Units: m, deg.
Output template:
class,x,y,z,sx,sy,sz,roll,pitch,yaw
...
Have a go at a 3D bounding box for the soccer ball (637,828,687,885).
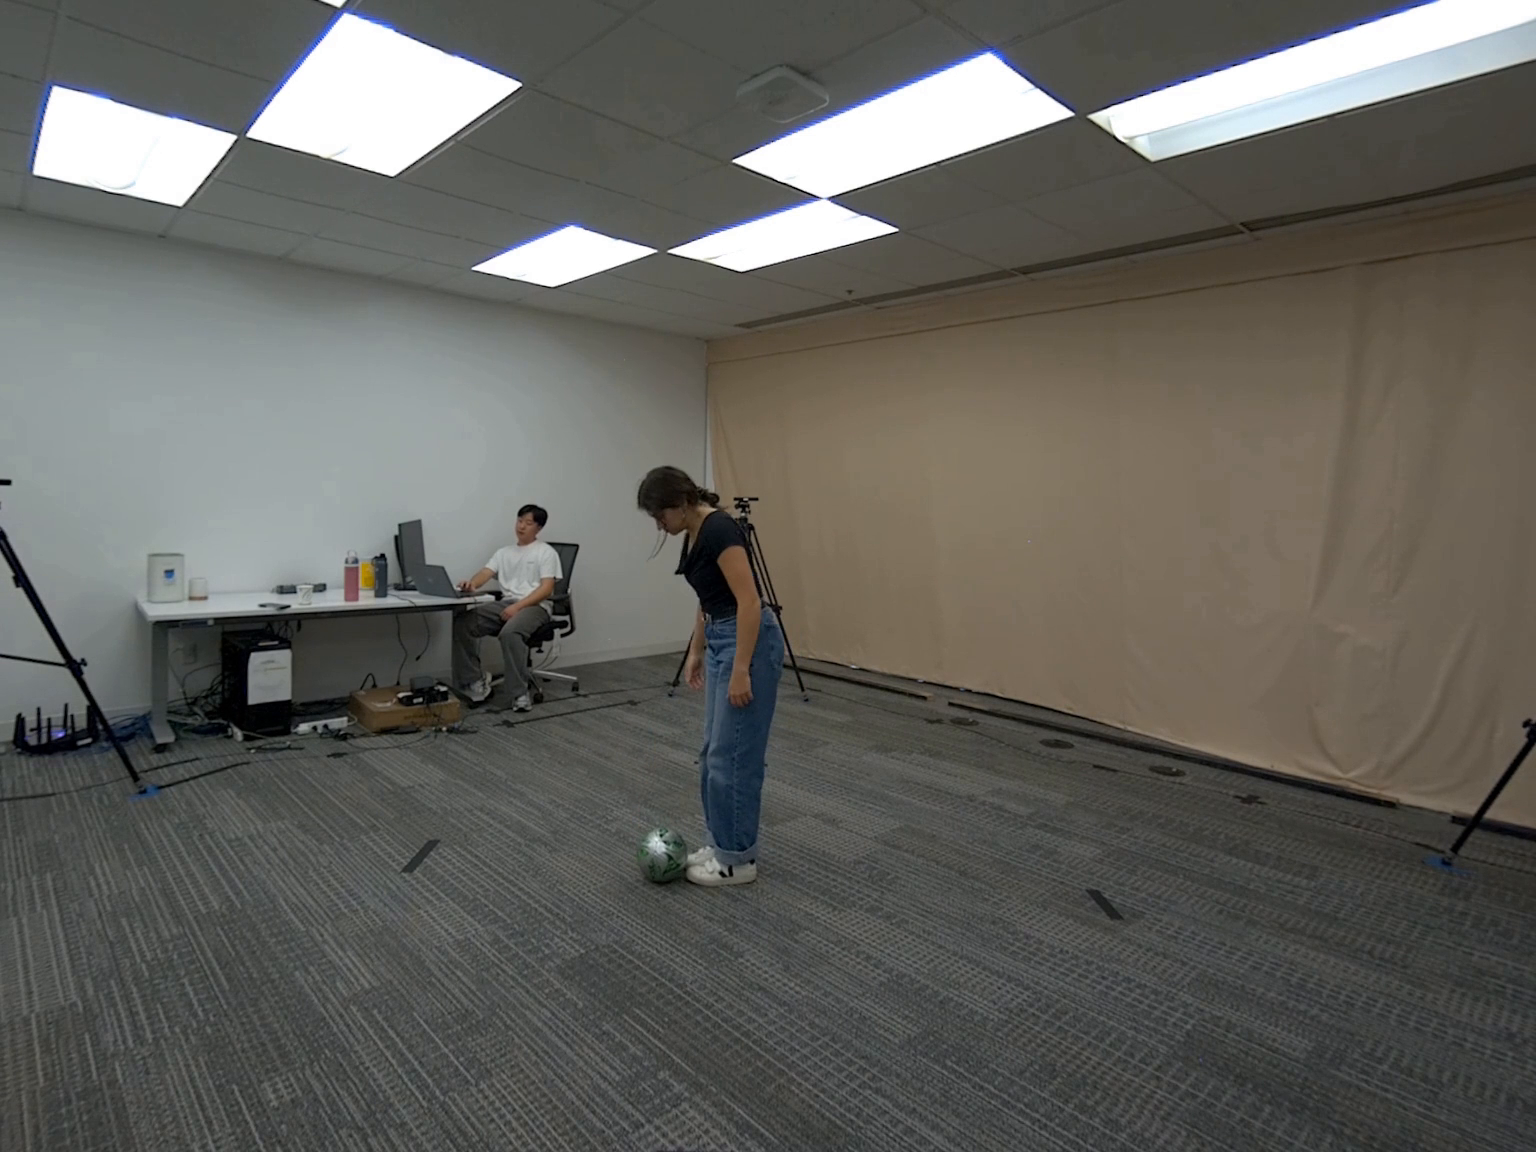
class,x,y,z,sx,sy,sz,roll,pitch,yaw
soccer ball,-0.386,1.009,3.067,0.187,0.187,0.188,1,4,-1
